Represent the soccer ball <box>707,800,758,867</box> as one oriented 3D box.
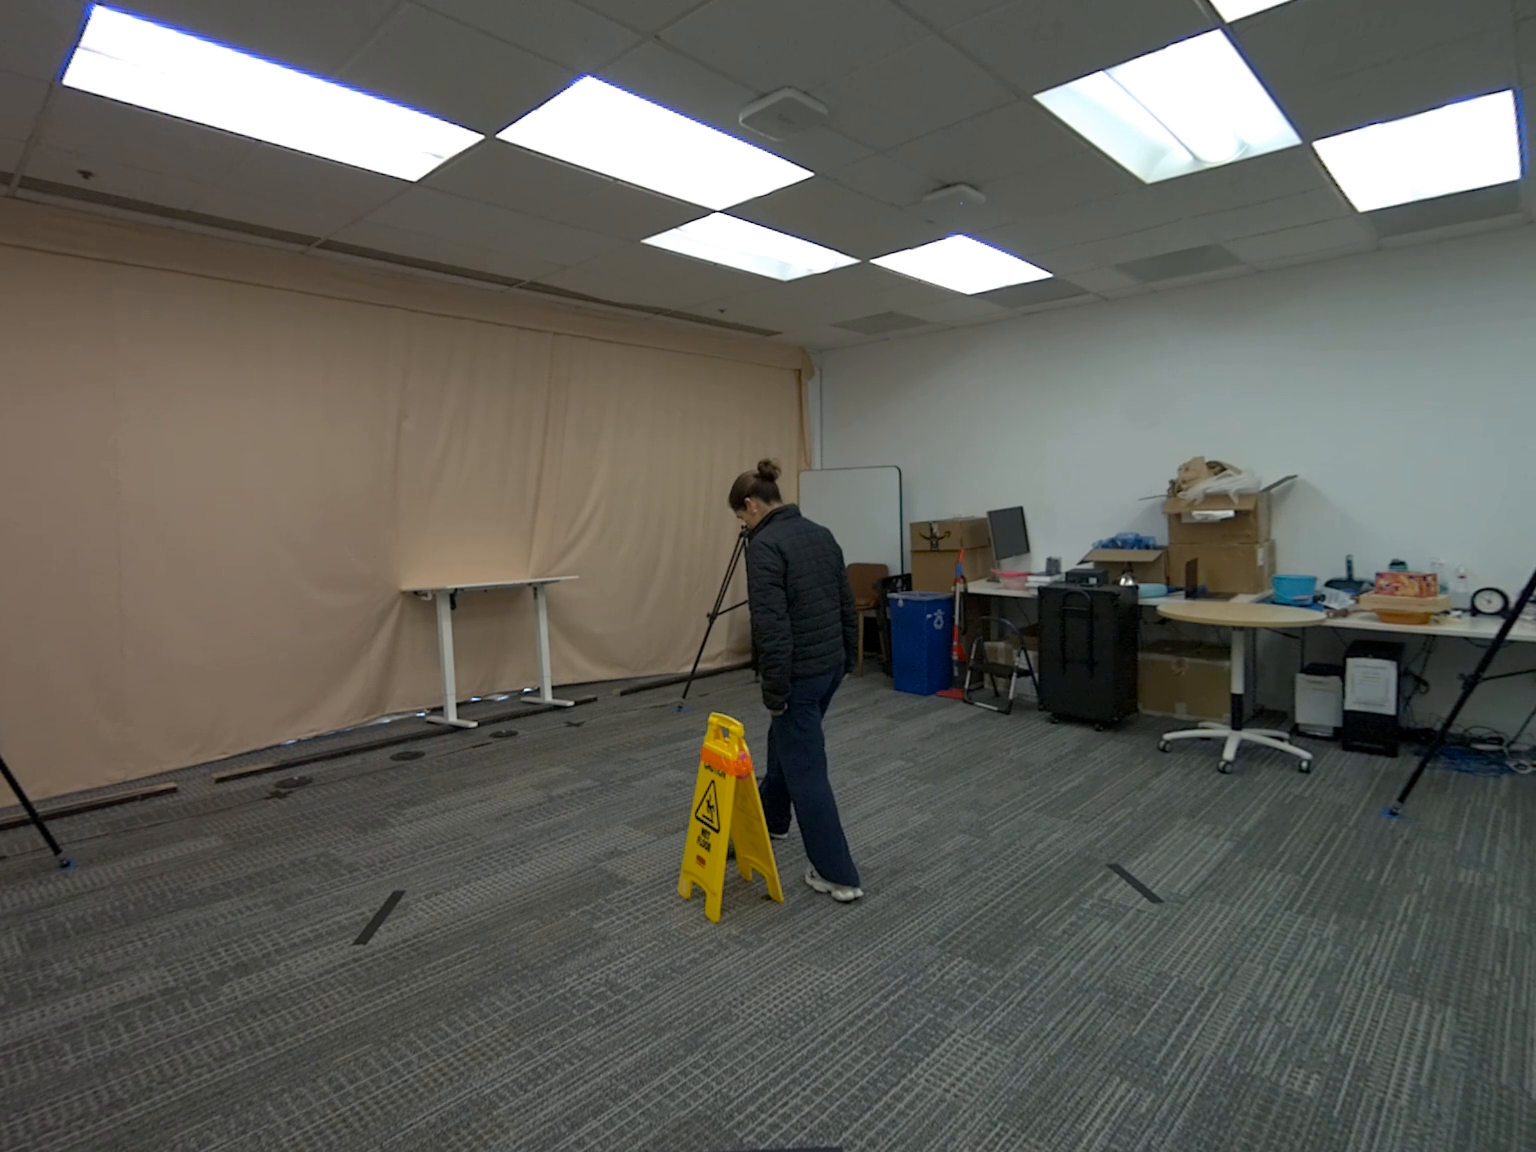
[{"bbox_3d":[-0.144,1.015,3.355,0.187,0.187,0.188,-1,4,-2],"label":"soccer ball"}]
